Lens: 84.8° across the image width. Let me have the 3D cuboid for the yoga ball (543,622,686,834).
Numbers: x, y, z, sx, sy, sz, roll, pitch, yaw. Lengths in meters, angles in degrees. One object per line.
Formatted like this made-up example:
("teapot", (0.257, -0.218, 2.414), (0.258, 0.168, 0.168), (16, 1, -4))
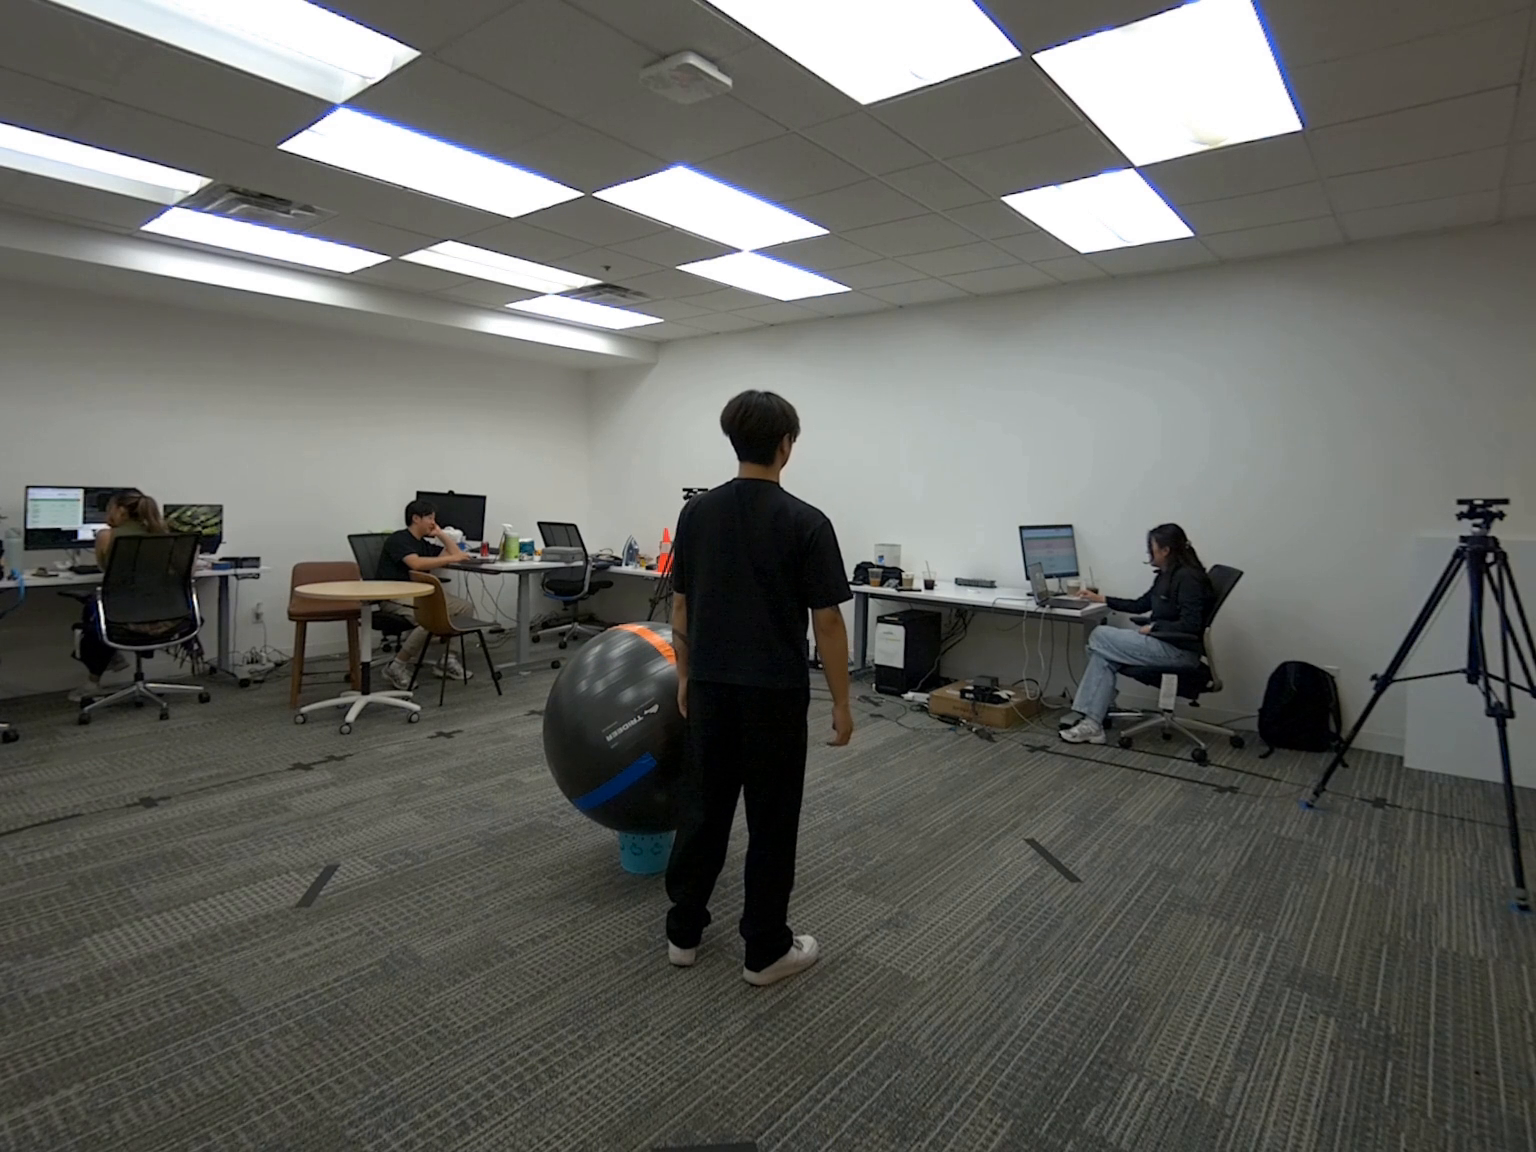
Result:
("yoga ball", (-0.458, 0.549, 3.127), (0.757, 0.755, 0.762), (1, 4, -2))
